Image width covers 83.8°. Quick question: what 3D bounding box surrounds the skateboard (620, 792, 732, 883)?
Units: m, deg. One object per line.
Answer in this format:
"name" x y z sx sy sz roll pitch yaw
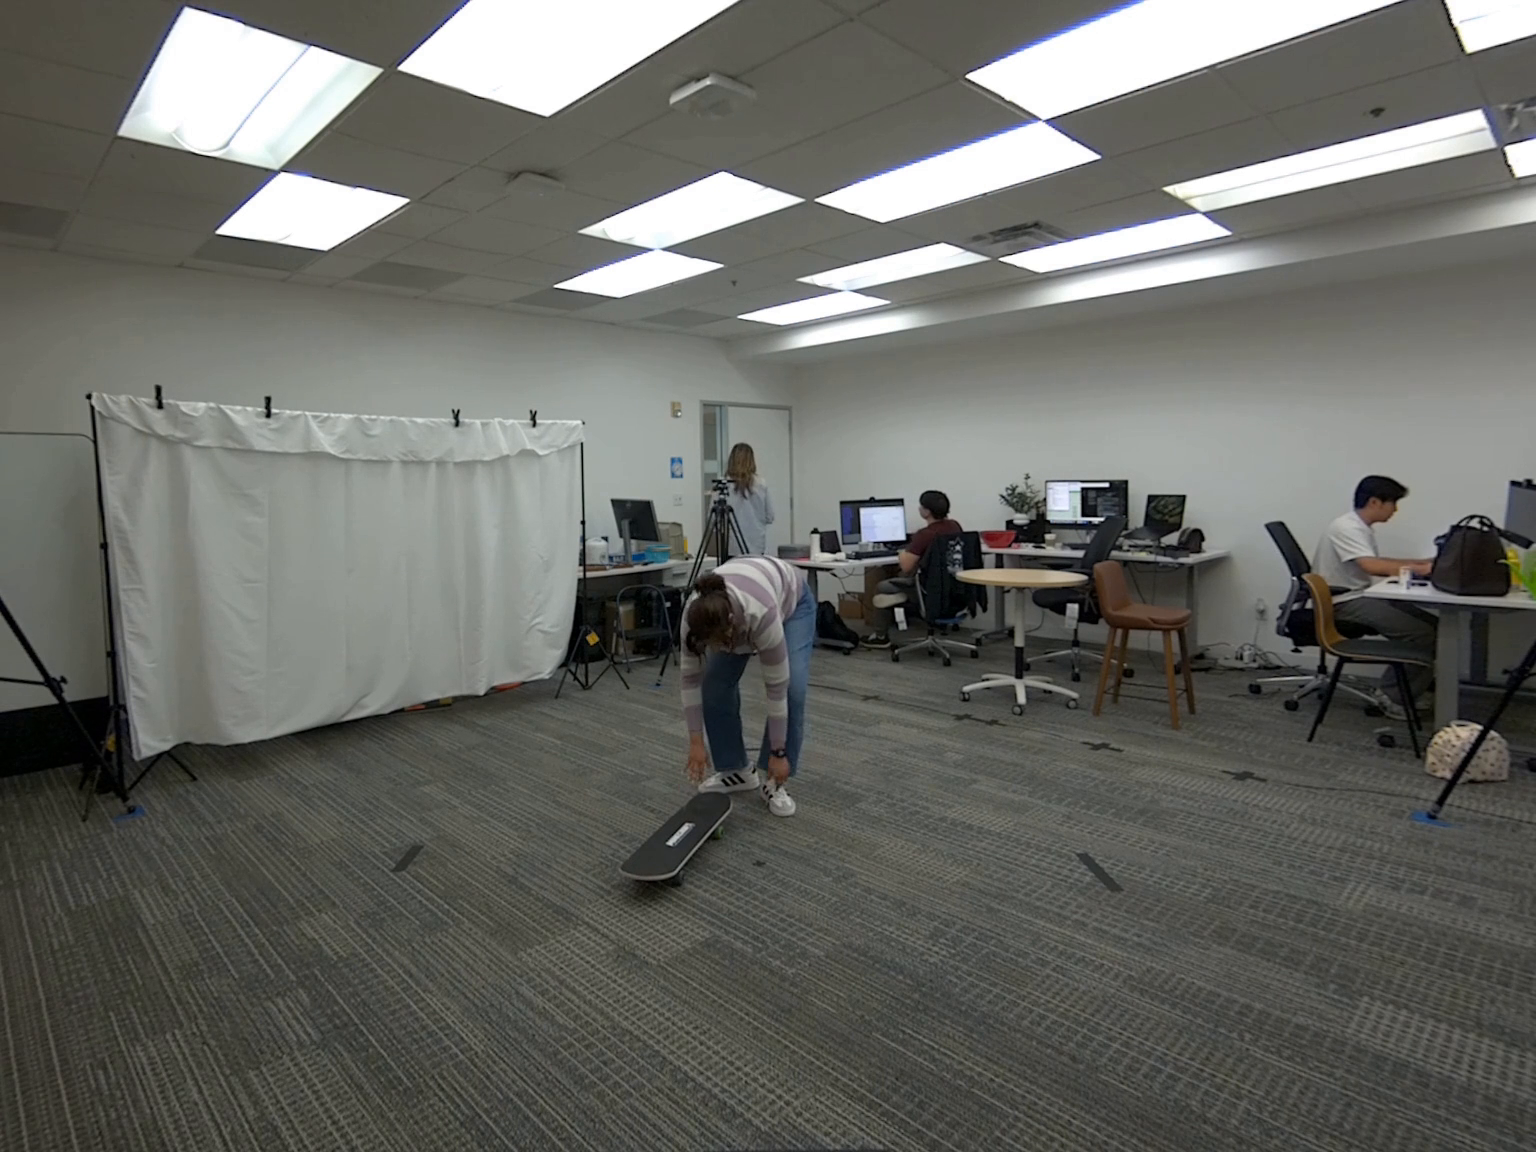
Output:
"skateboard" -0.320 0.990 3.169 0.197 0.110 0.776 2 7 16
